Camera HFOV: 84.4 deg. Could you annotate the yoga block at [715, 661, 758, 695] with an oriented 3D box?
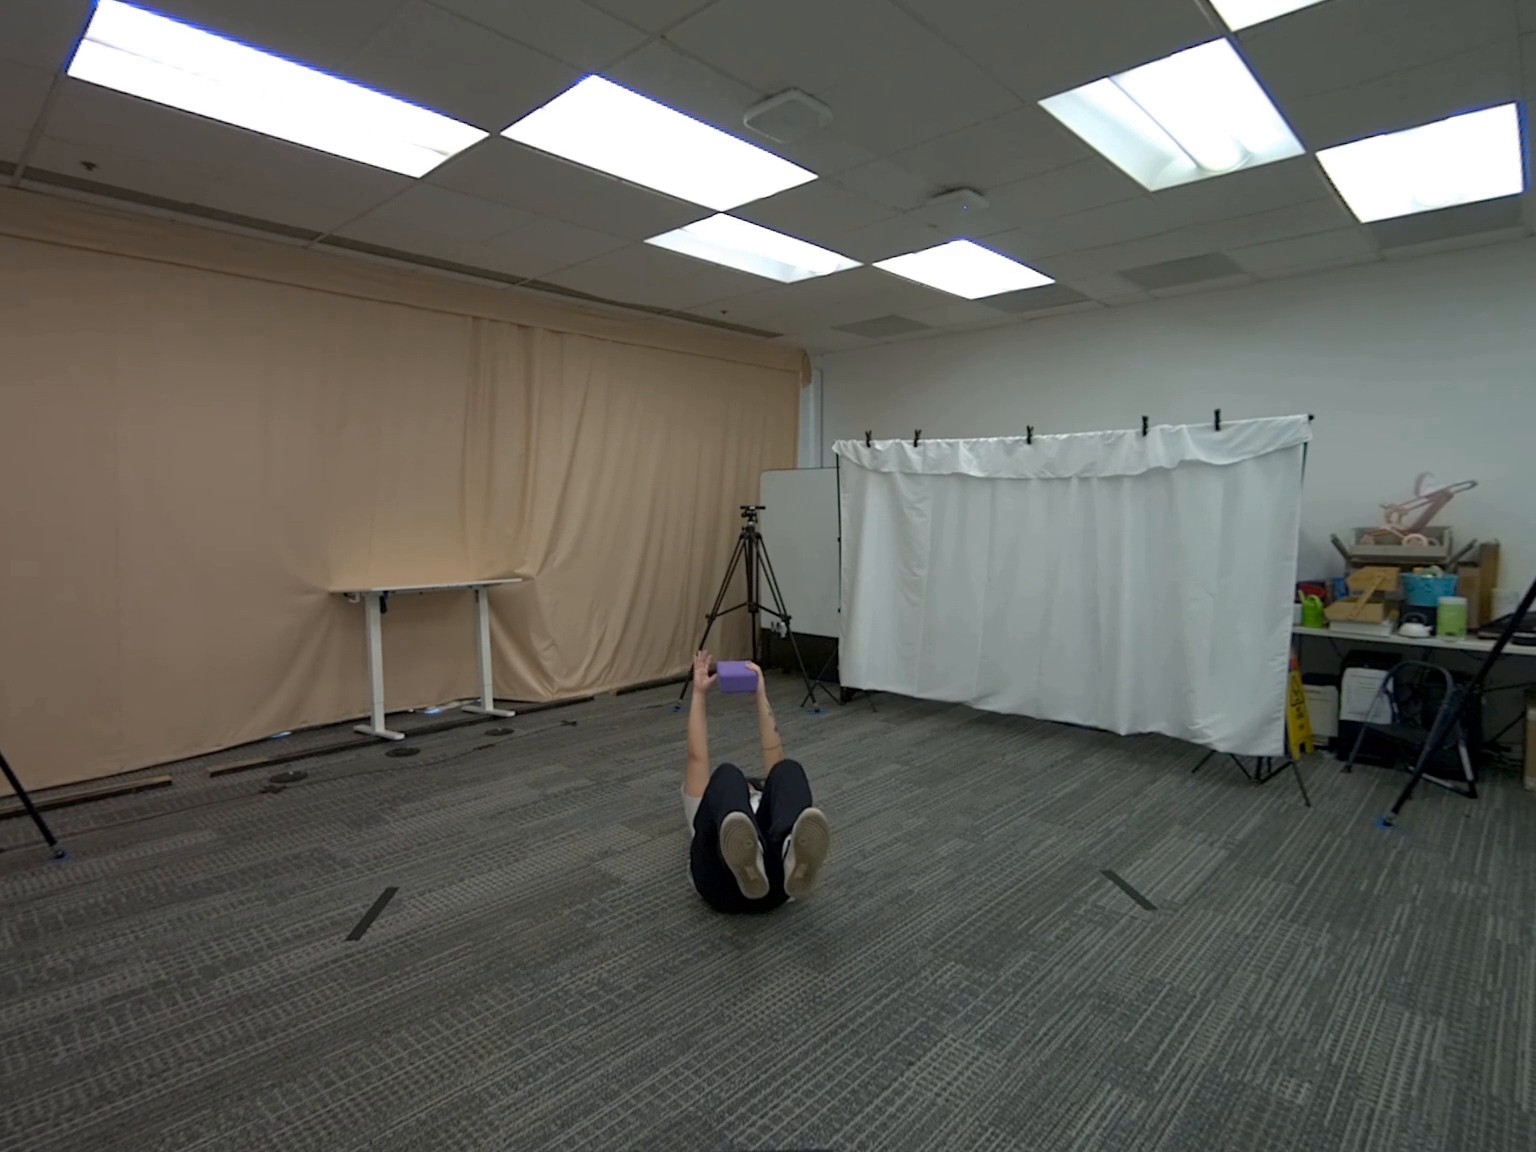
[{"bbox_3d":[-0.127,0.407,3.425,0.148,0.076,0.232,-1,11,-5],"label":"yoga block"}]
